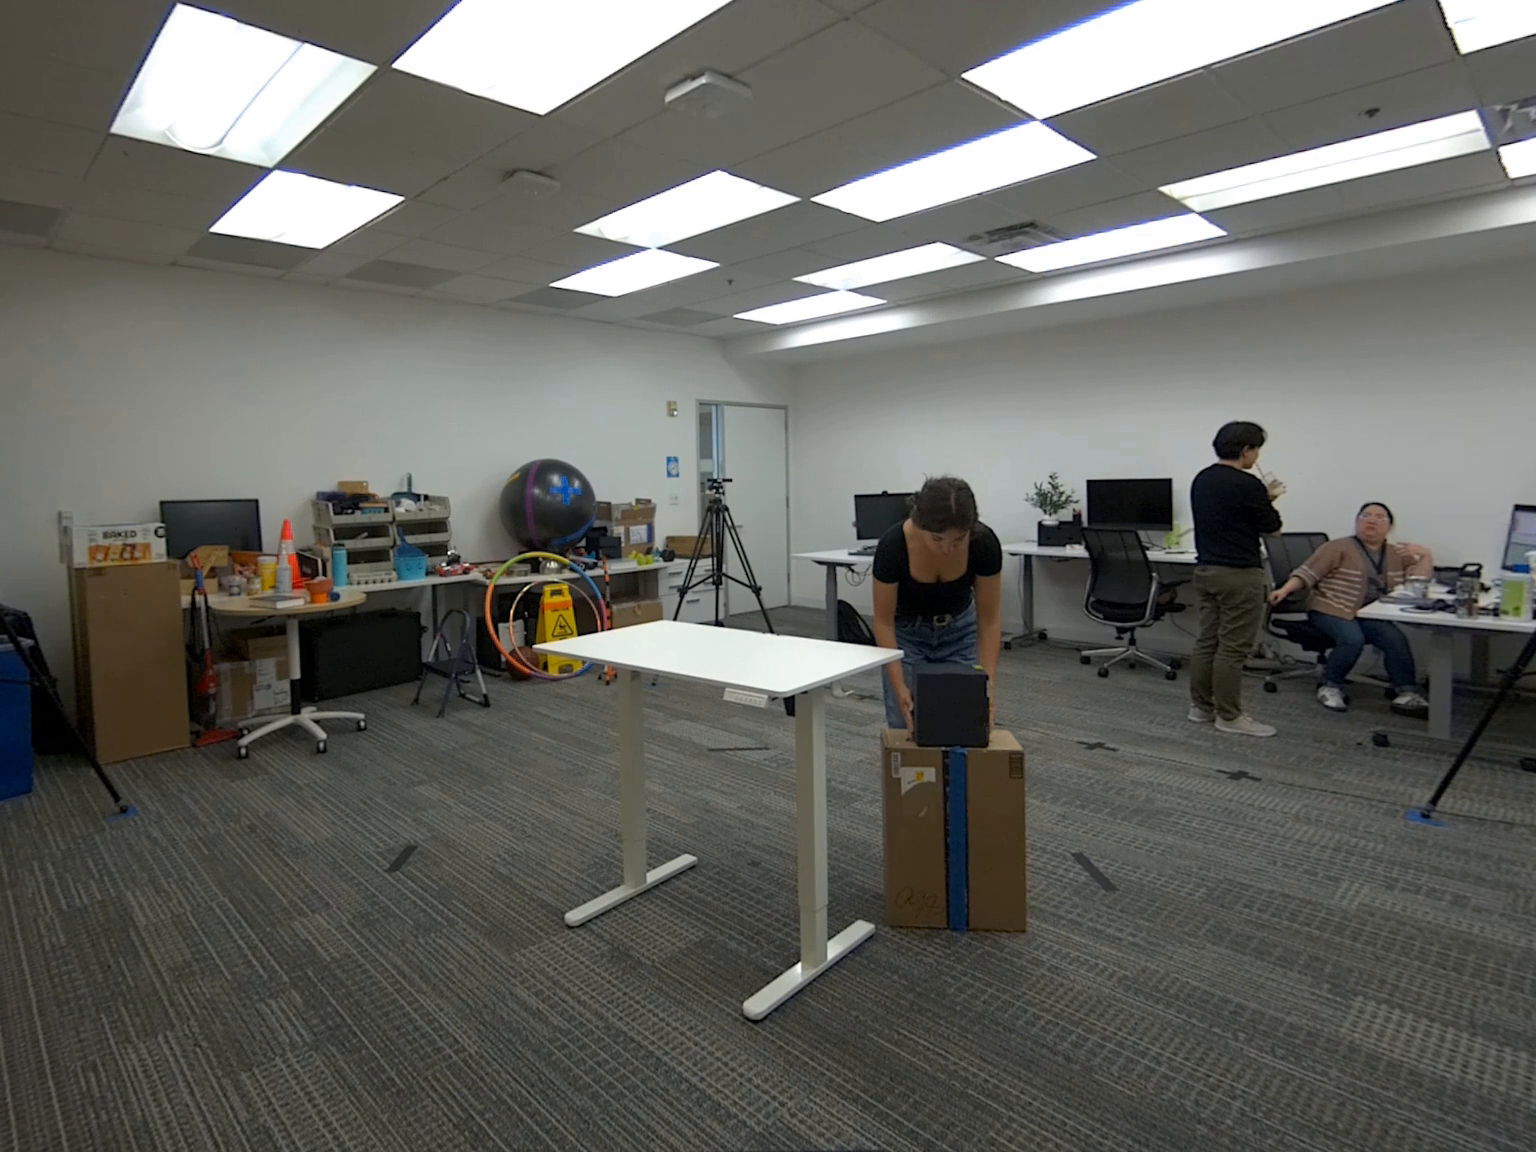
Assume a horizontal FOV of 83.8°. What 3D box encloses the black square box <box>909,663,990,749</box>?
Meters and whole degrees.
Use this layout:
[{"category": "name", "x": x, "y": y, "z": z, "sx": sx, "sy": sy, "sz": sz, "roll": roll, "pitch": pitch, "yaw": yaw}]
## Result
[{"category": "black square box", "x": 0.556, "y": 0.392, "z": 2.673, "sx": 0.218, "sy": 0.227, "sz": 0.156, "roll": 2, "pitch": 5, "yaw": 4}]
